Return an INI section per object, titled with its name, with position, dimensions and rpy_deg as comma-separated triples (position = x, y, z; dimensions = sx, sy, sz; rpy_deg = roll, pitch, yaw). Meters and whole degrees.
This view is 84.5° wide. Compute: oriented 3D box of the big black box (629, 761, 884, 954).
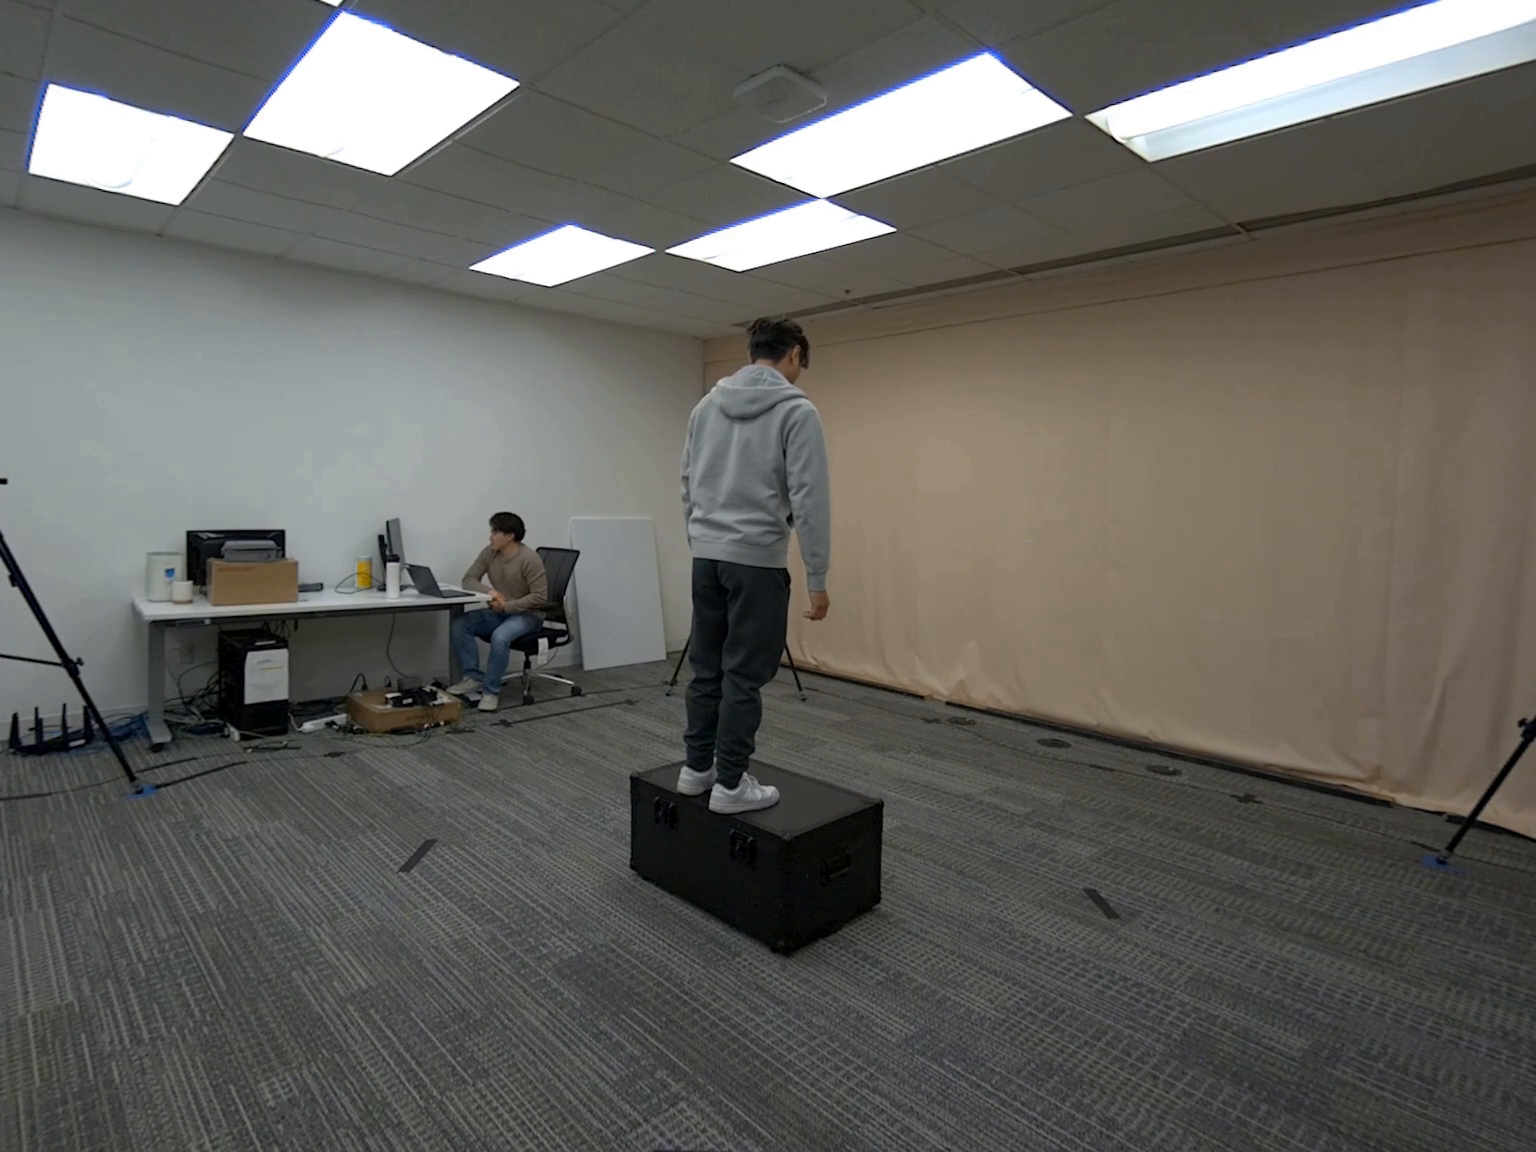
[big black box]
position = -0.087, 0.928, 2.997
dimensions = 0.884, 0.395, 0.509
rpy_deg = 7, 7, 45
